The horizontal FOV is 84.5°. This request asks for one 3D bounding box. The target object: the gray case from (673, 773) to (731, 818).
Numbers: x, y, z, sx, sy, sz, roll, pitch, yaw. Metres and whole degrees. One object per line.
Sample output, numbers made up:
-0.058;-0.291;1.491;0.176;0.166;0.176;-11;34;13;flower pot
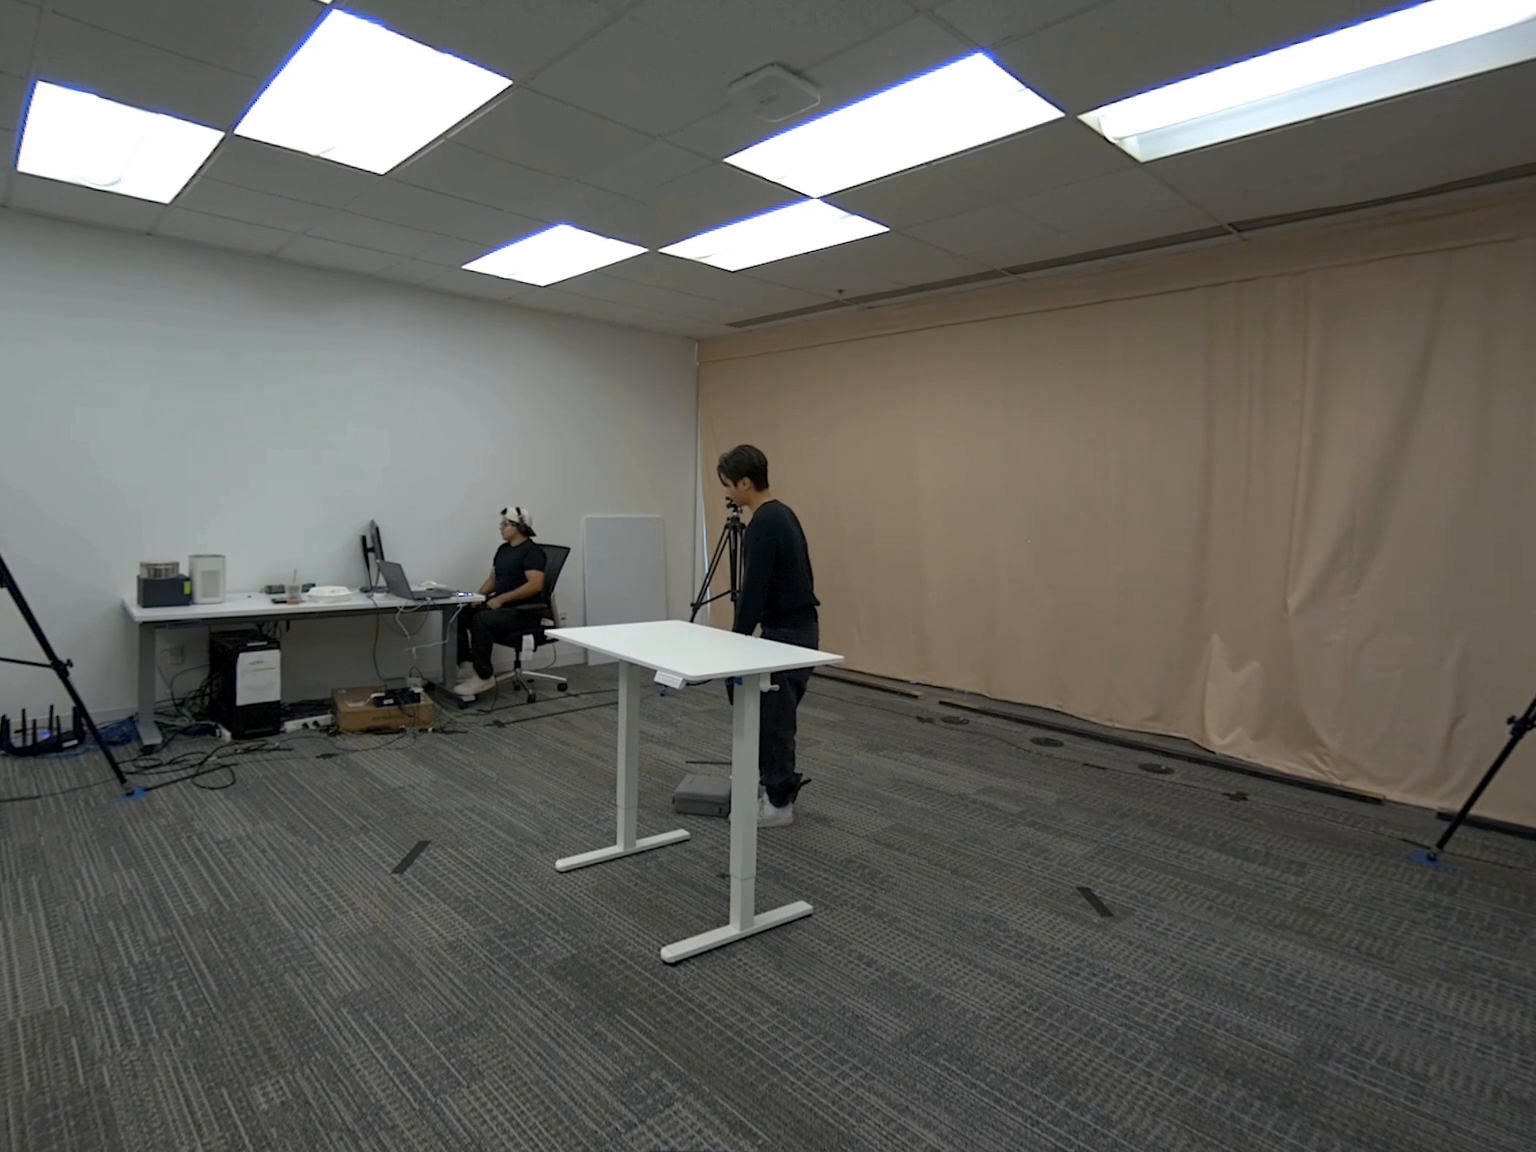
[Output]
-0.283;0.988;3.806;0.263;0.104;0.255;2;5;9;gray case
